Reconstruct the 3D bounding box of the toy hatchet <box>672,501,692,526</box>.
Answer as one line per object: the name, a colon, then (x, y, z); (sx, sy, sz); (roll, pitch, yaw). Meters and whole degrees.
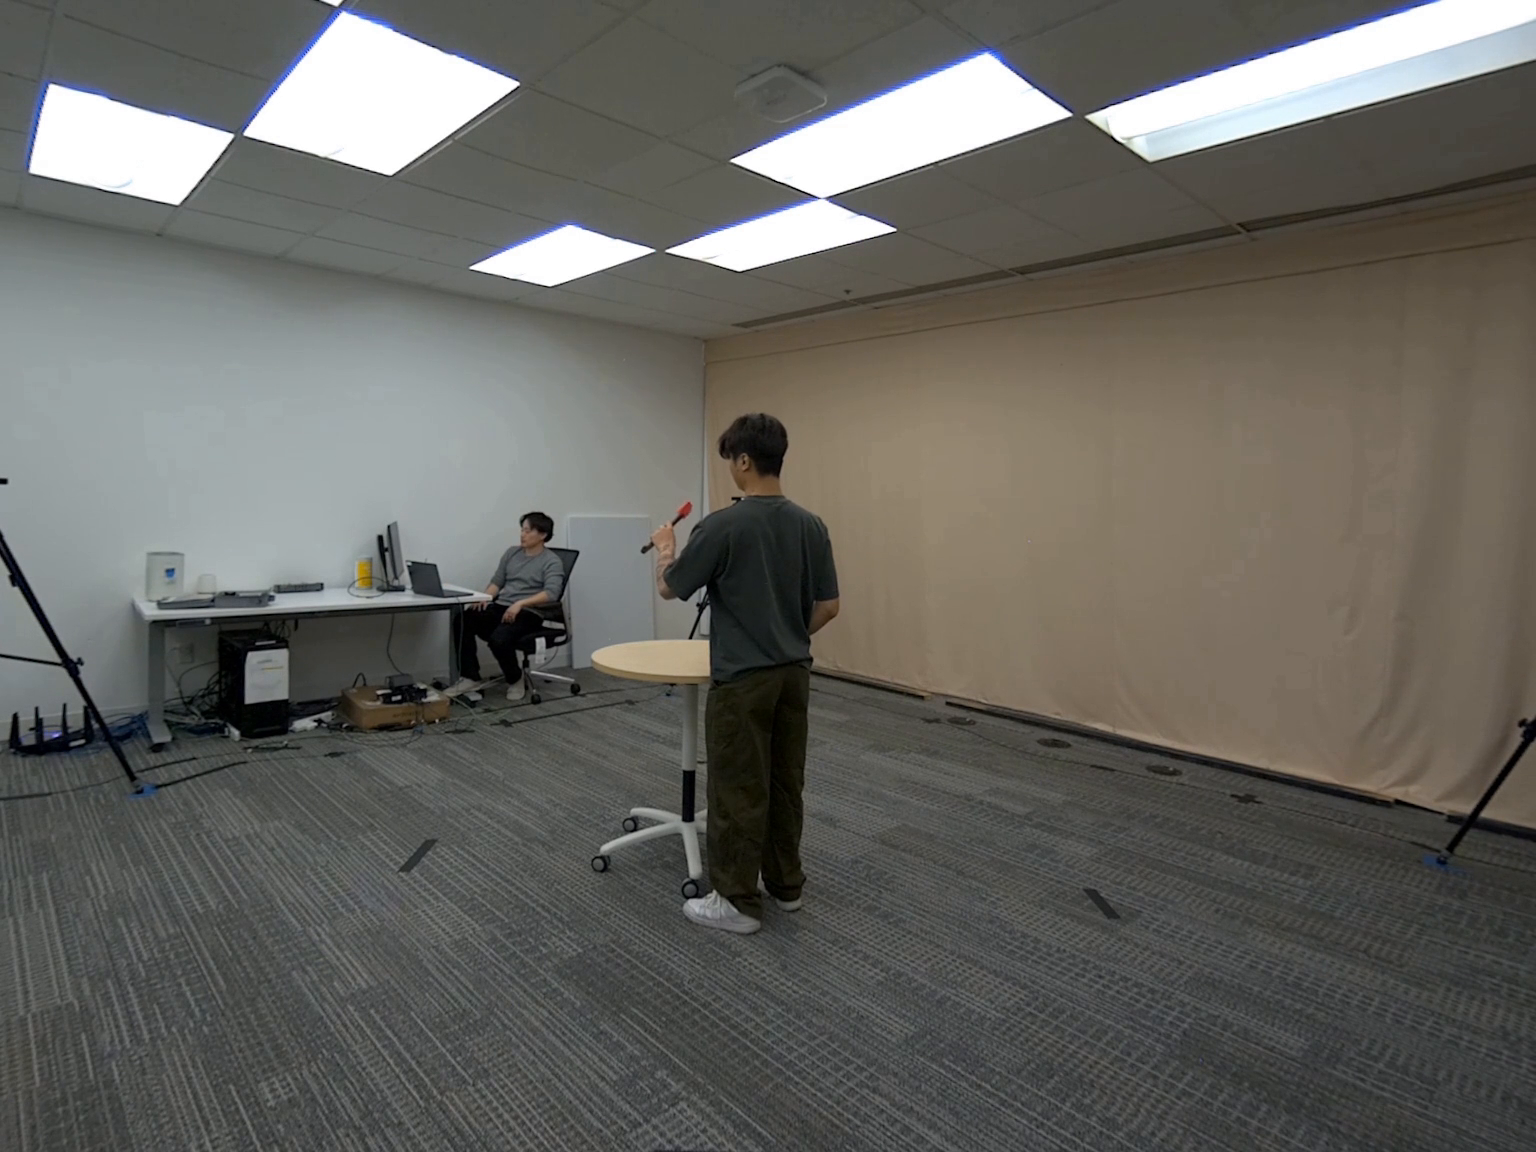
toy hatchet: (-0.356, -0.183, 3.002); (0.030, 0.130, 0.270); (38, 46, 3)
